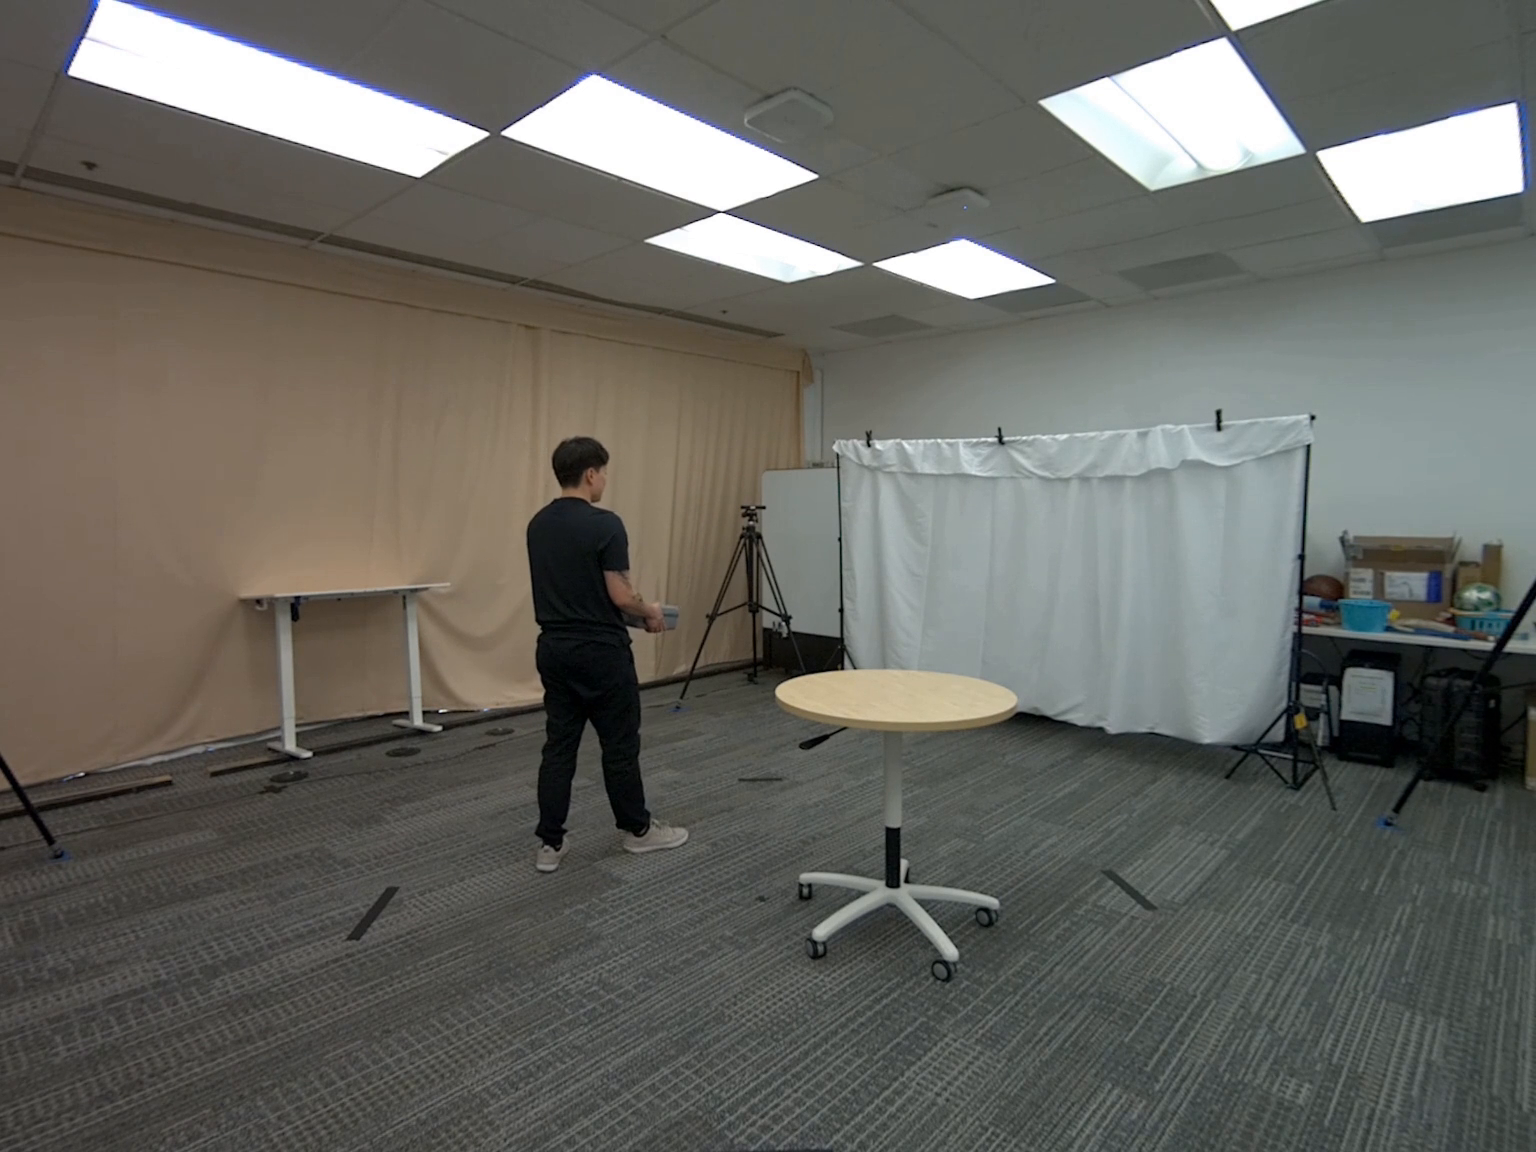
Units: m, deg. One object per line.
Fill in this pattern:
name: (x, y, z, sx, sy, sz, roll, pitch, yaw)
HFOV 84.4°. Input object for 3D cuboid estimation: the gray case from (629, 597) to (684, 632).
gray case: (-0.548, 0.158, 3.575, 0.266, 0.104, 0.252, 10, 4, 40)
